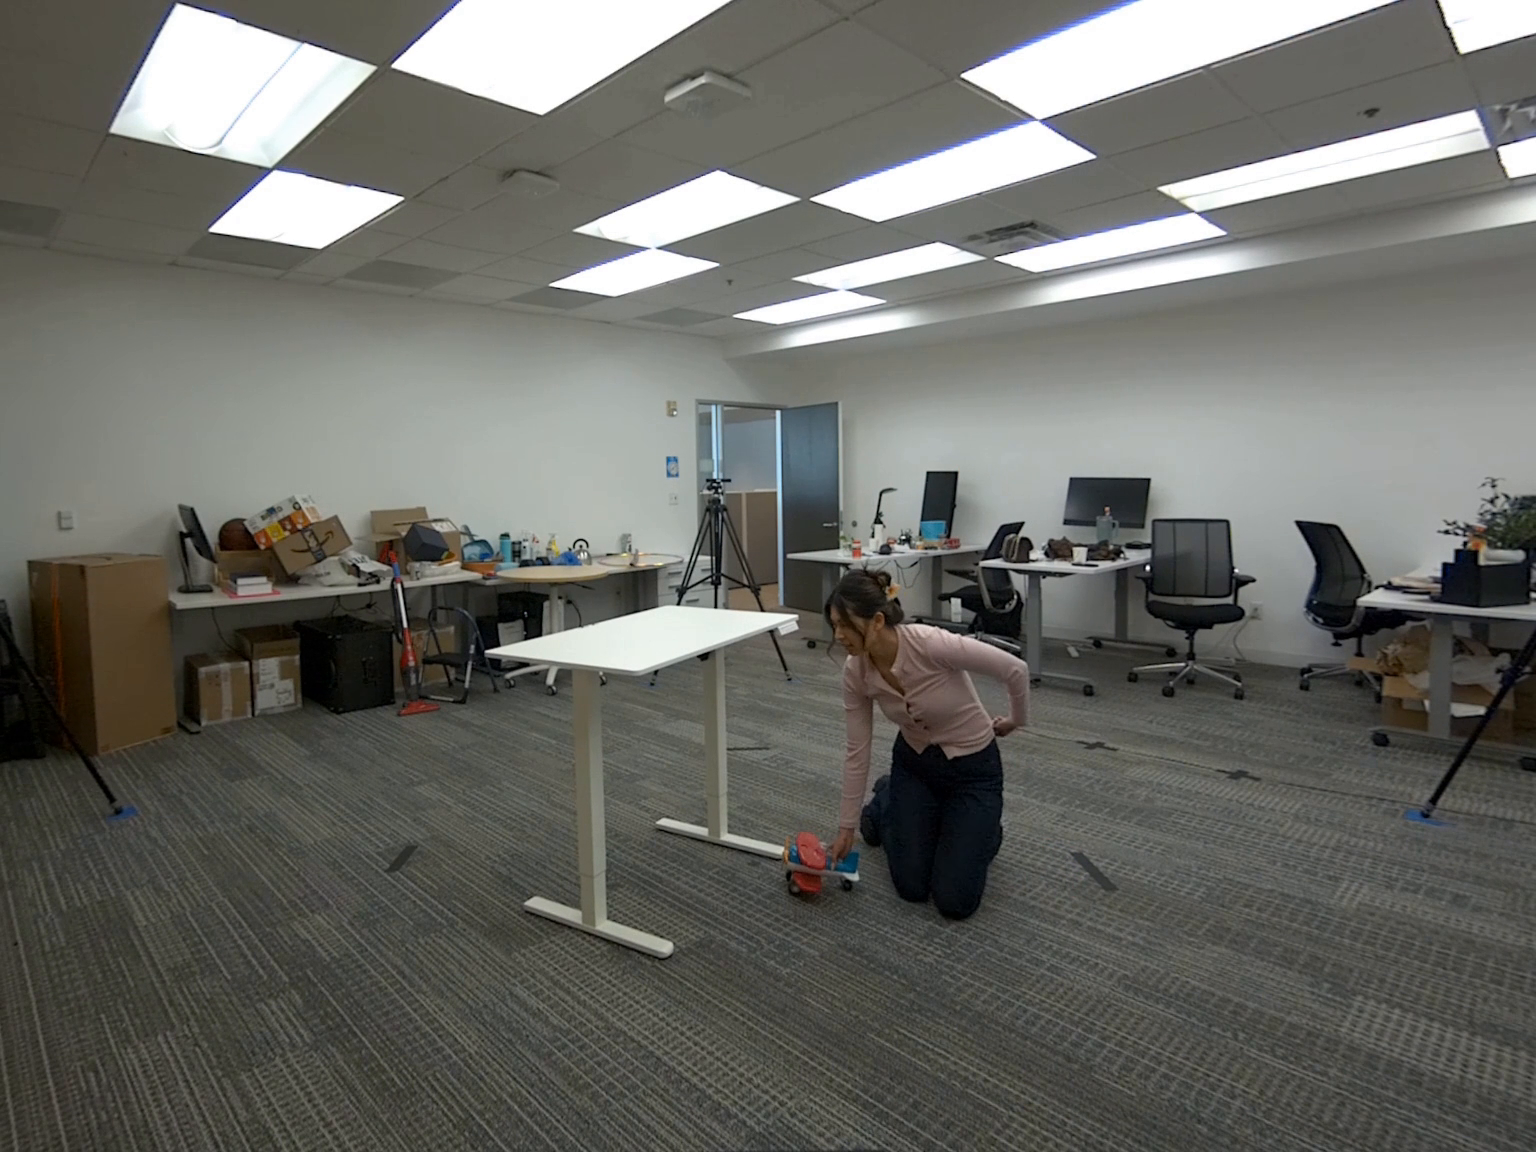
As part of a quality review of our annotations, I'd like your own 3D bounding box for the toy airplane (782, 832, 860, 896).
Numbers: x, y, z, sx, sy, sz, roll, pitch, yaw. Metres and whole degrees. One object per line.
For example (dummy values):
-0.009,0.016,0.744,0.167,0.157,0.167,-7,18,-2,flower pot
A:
0.177,0.984,2.919,0.253,0.155,0.258,-6,8,-29,toy airplane
